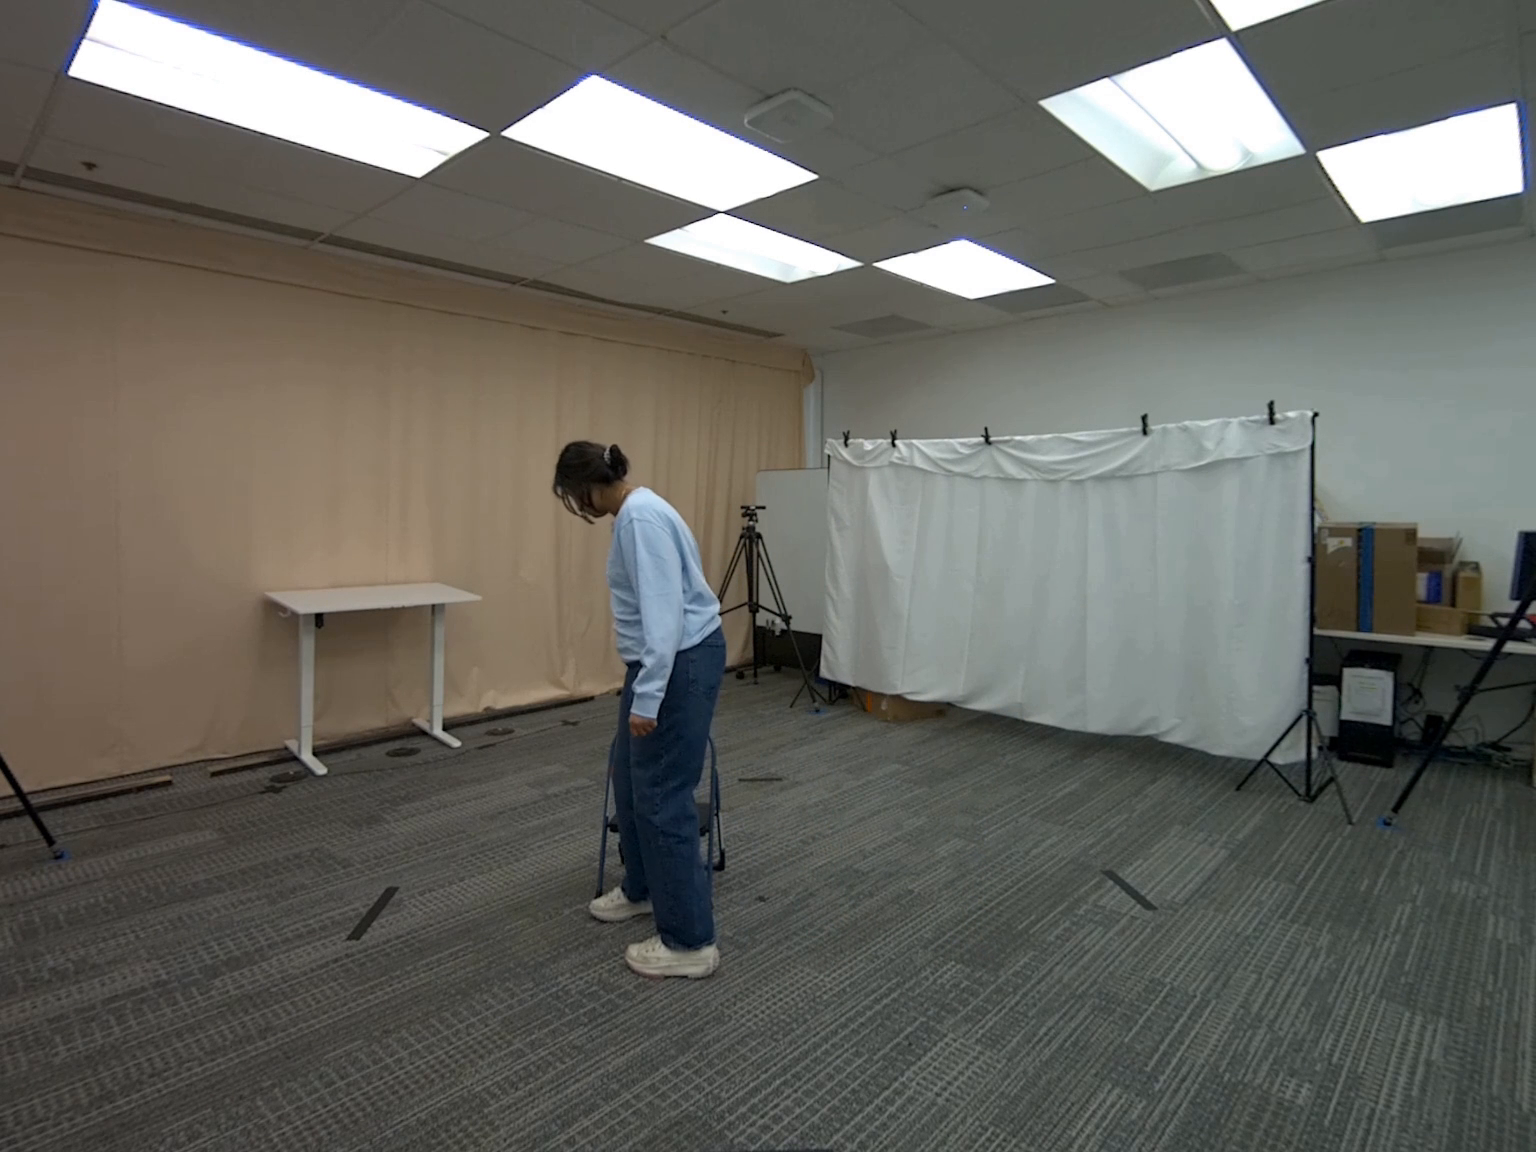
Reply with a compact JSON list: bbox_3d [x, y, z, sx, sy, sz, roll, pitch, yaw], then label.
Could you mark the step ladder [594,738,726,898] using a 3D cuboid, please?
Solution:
[{"bbox_3d":[-0.391,0.836,3.086,0.435,0.604,0.347,0,4,8],"label":"step ladder"}]
